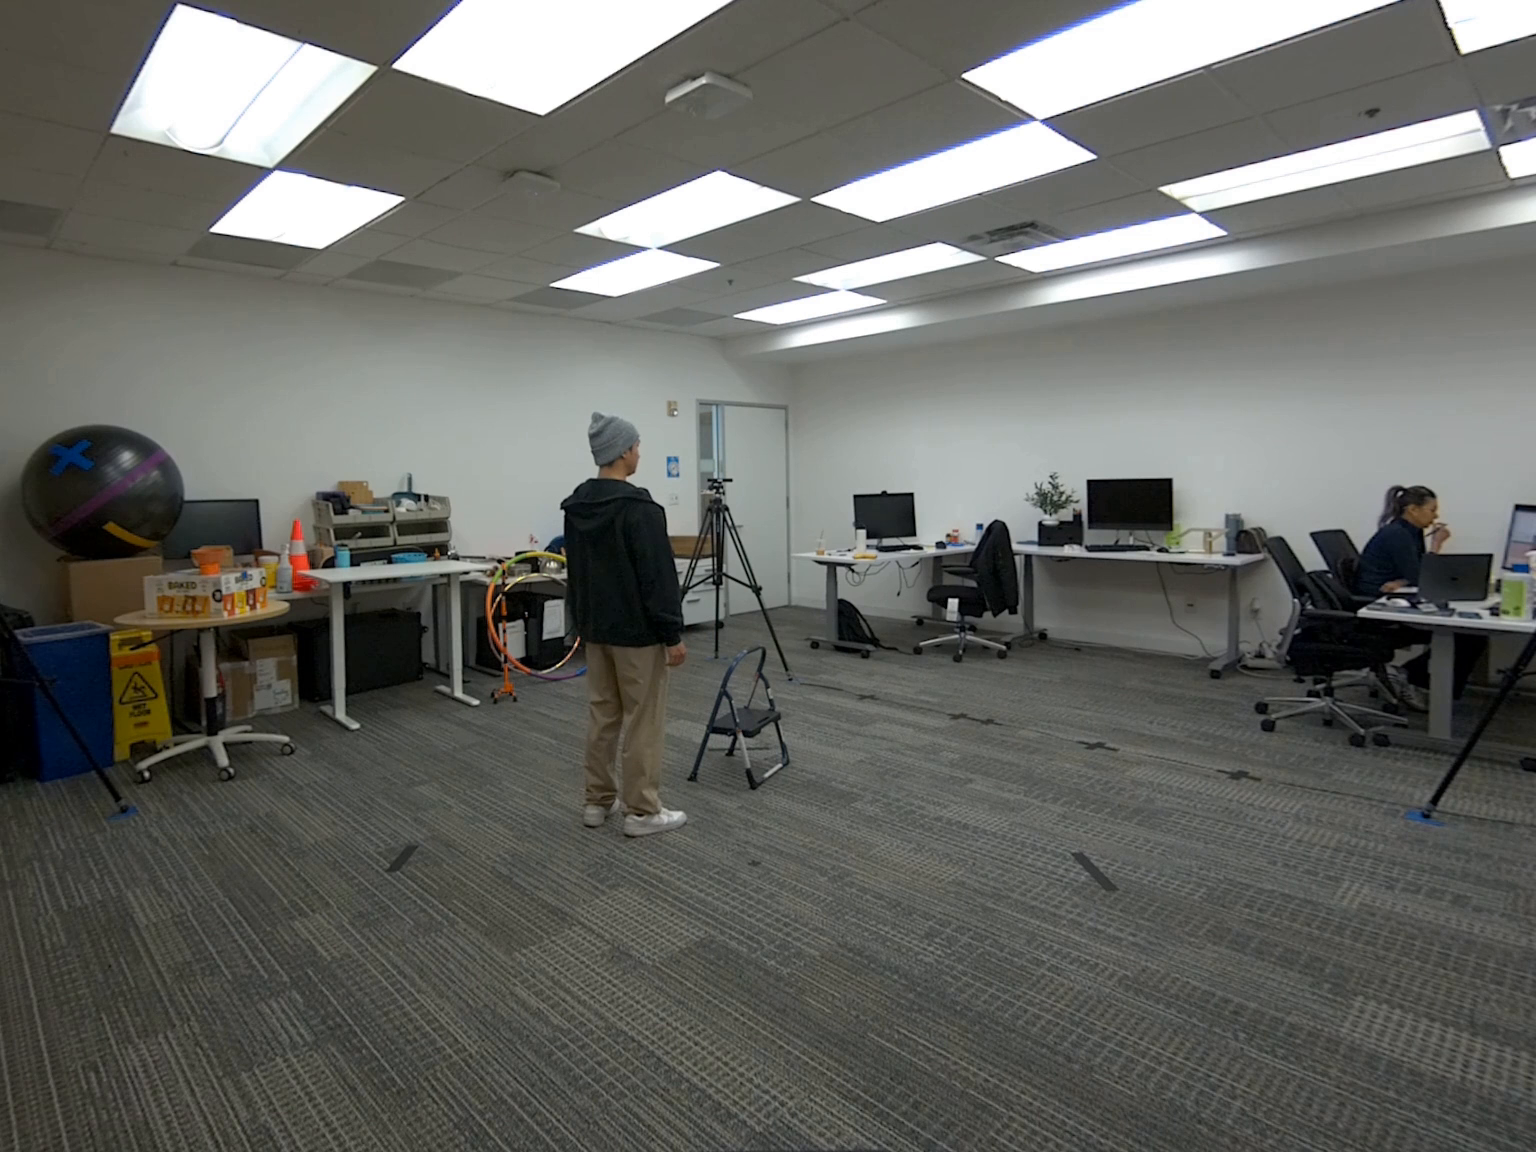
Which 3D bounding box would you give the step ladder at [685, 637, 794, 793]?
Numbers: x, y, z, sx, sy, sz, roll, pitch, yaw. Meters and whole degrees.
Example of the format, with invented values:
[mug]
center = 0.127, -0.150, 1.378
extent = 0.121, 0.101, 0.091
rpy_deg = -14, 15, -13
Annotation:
[step ladder]
center = -0.129, 0.637, 4.085
extent = 0.357, 0.604, 0.422
rpy_deg = 0, 4, 24
